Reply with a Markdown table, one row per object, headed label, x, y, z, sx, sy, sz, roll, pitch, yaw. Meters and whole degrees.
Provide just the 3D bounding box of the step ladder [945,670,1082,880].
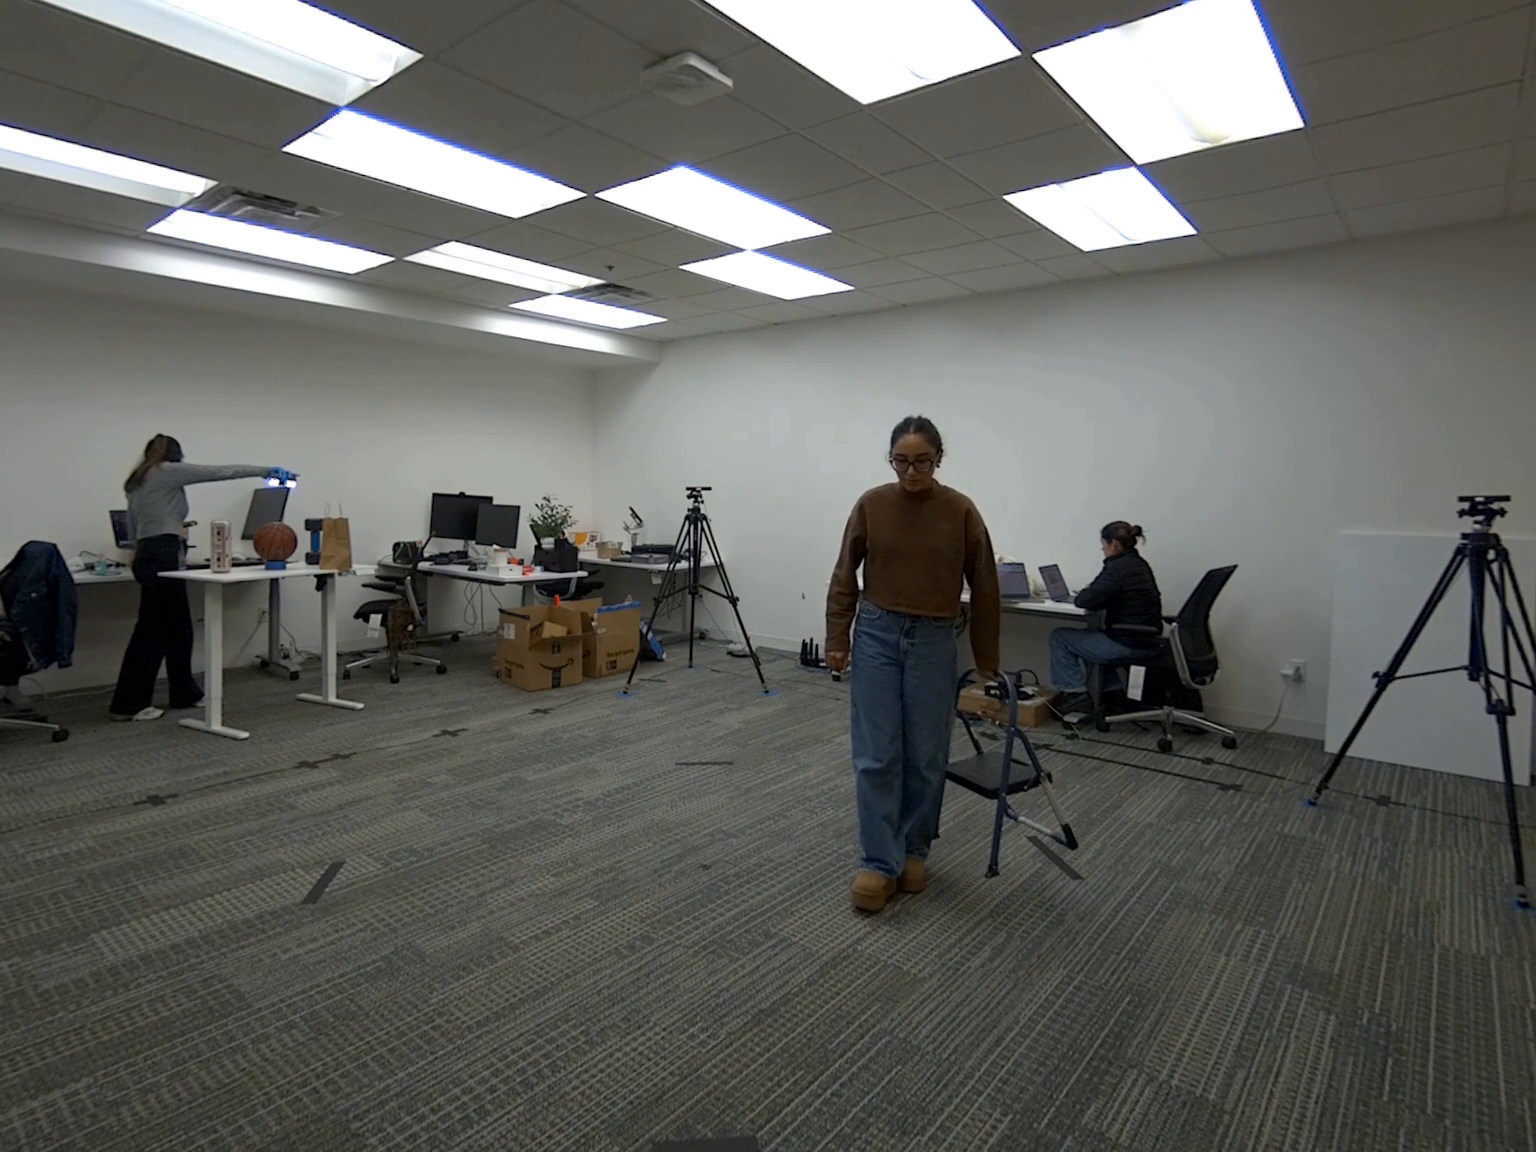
| label | x | y | z | sx | sy | sz | roll | pitch | yaw |
| --- | --- | --- | --- | --- | --- | --- | --- | --- | --- |
| step ladder | 0.756 | 0.641 | 2.977 | 0.345 | 0.605 | 0.437 | -11 | 2 | -16 |
